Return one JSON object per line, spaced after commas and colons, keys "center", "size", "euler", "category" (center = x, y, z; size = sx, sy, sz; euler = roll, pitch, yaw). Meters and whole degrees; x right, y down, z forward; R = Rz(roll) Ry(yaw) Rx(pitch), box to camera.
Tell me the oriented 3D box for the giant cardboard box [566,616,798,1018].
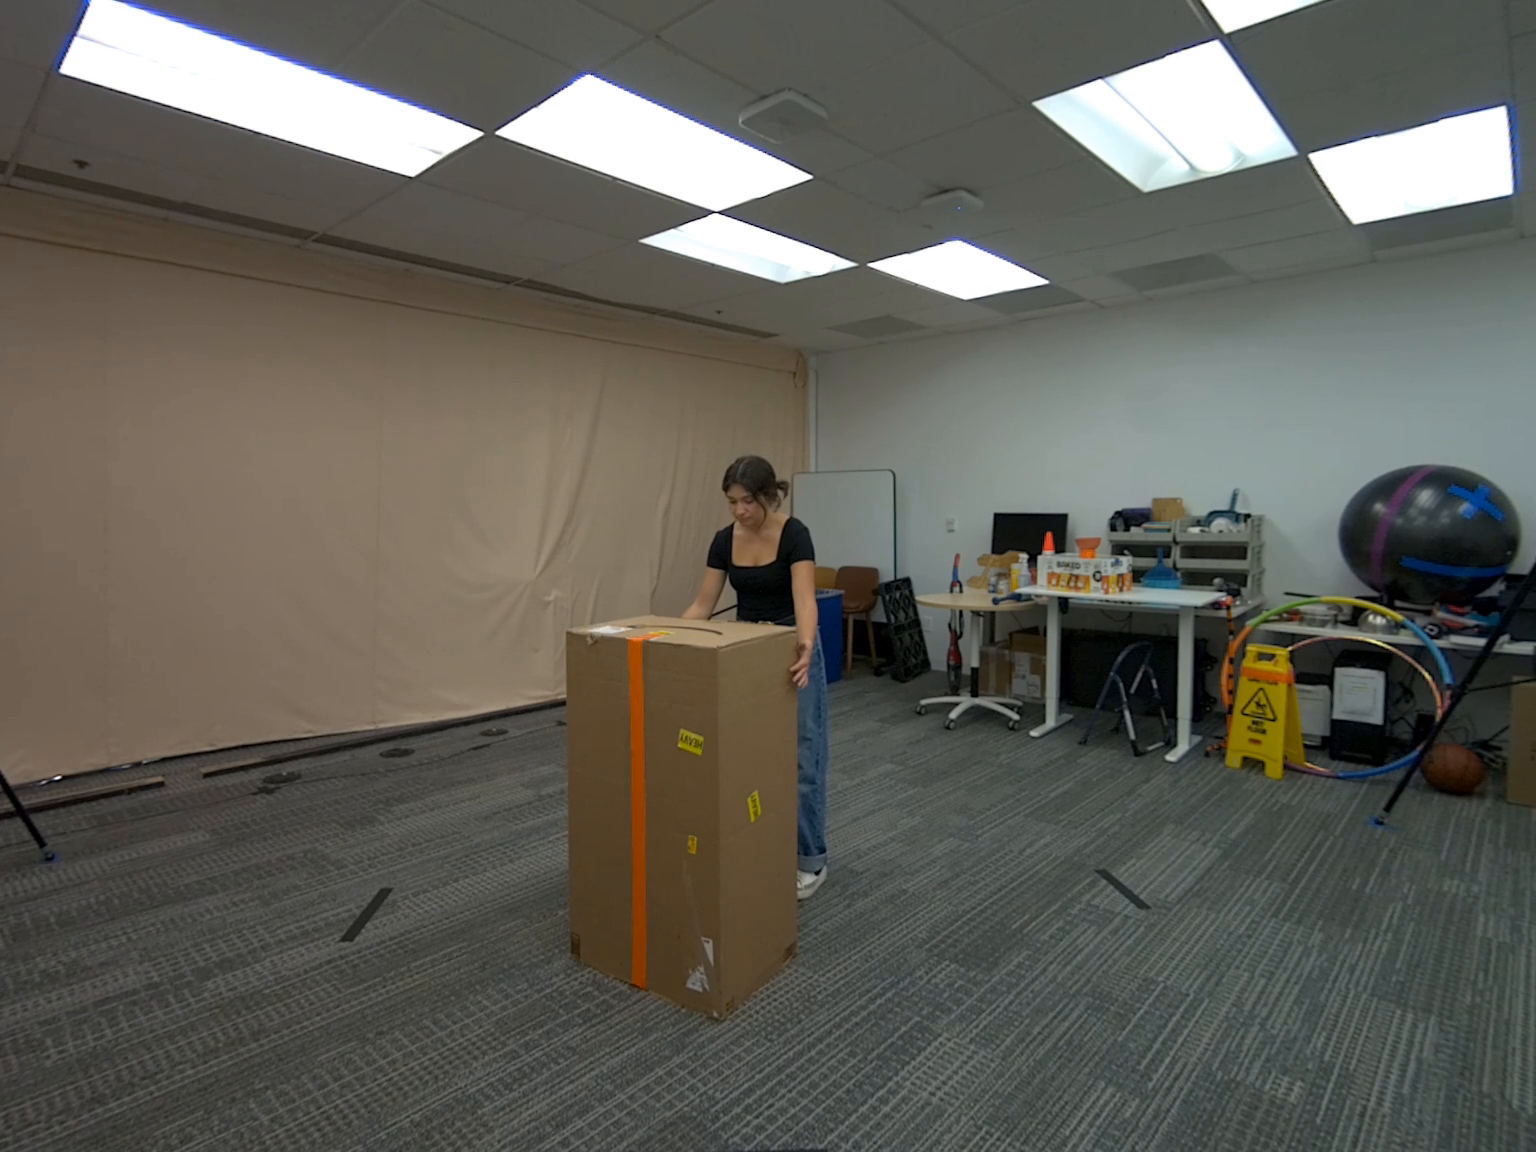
{"center": [-0.267, 0.671, 2.576], "size": [0.595, 1.024, 0.414], "euler": [2, 4, 34], "category": "giant cardboard box"}
